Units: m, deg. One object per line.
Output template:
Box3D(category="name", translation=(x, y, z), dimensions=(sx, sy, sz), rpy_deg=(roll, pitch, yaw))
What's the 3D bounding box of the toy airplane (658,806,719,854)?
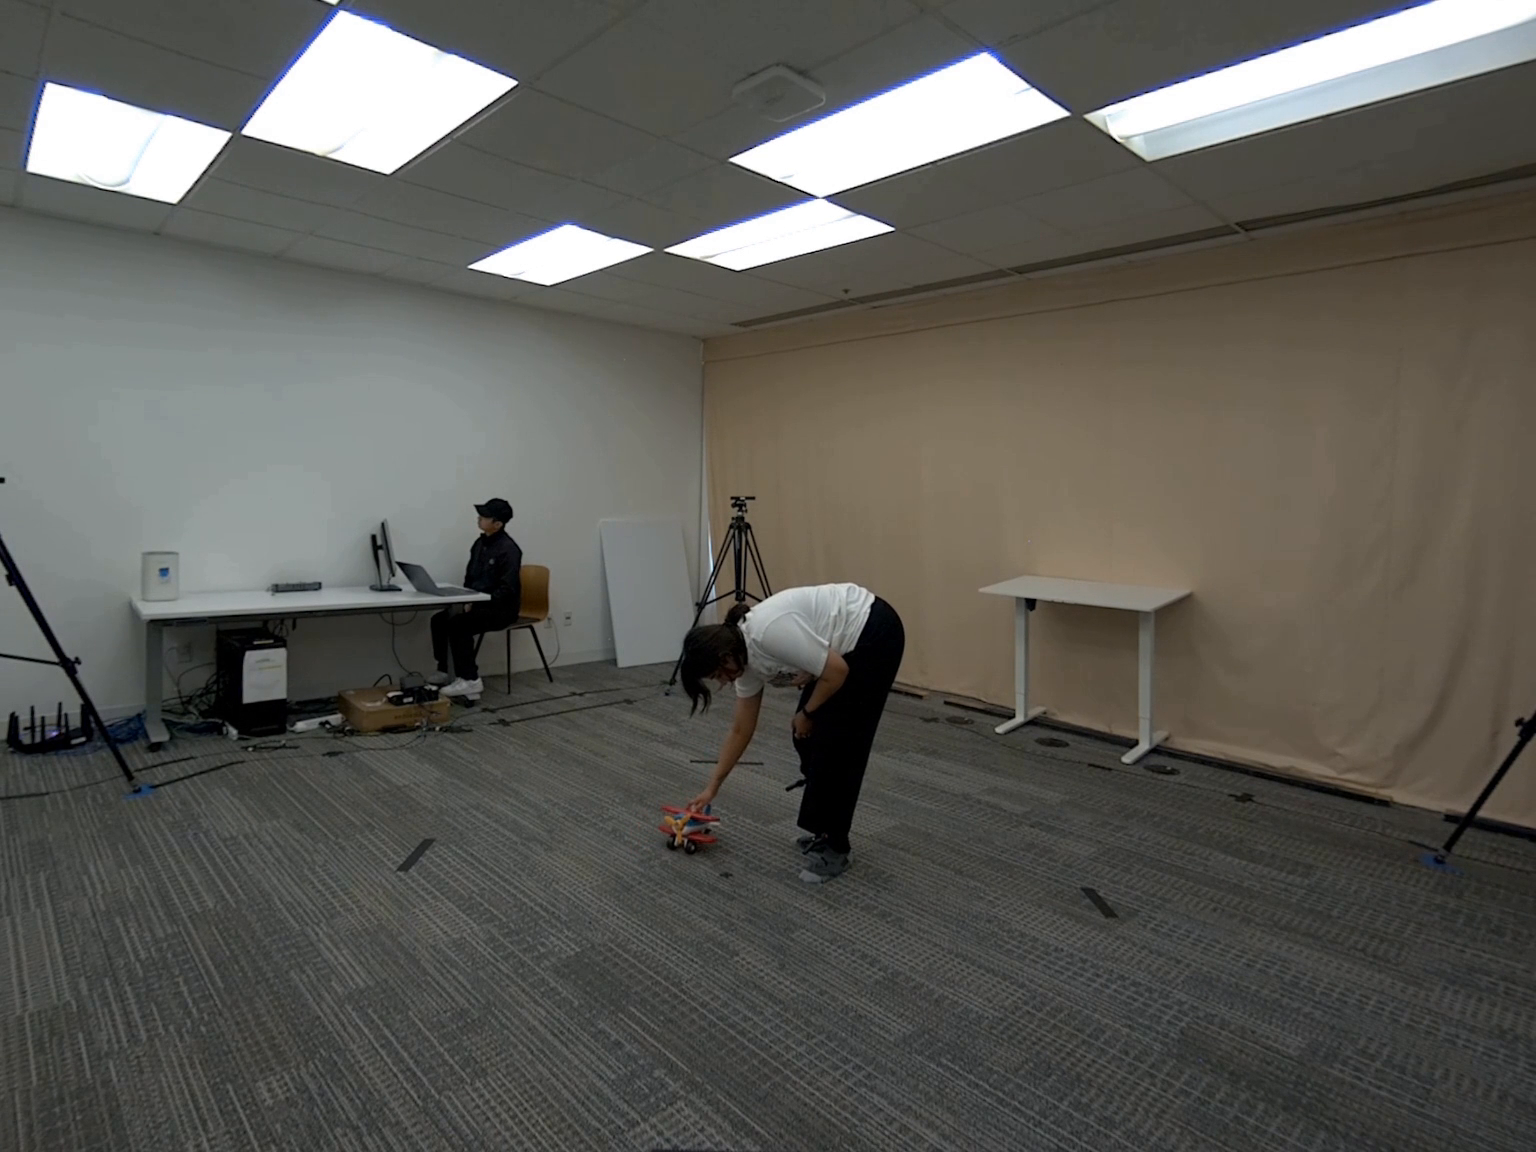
Box3D(category="toy airplane", translation=(-0.328, 0.998, 3.385), dimensions=(0.251, 0.156, 0.260), rpy_deg=(2, 6, -1))
